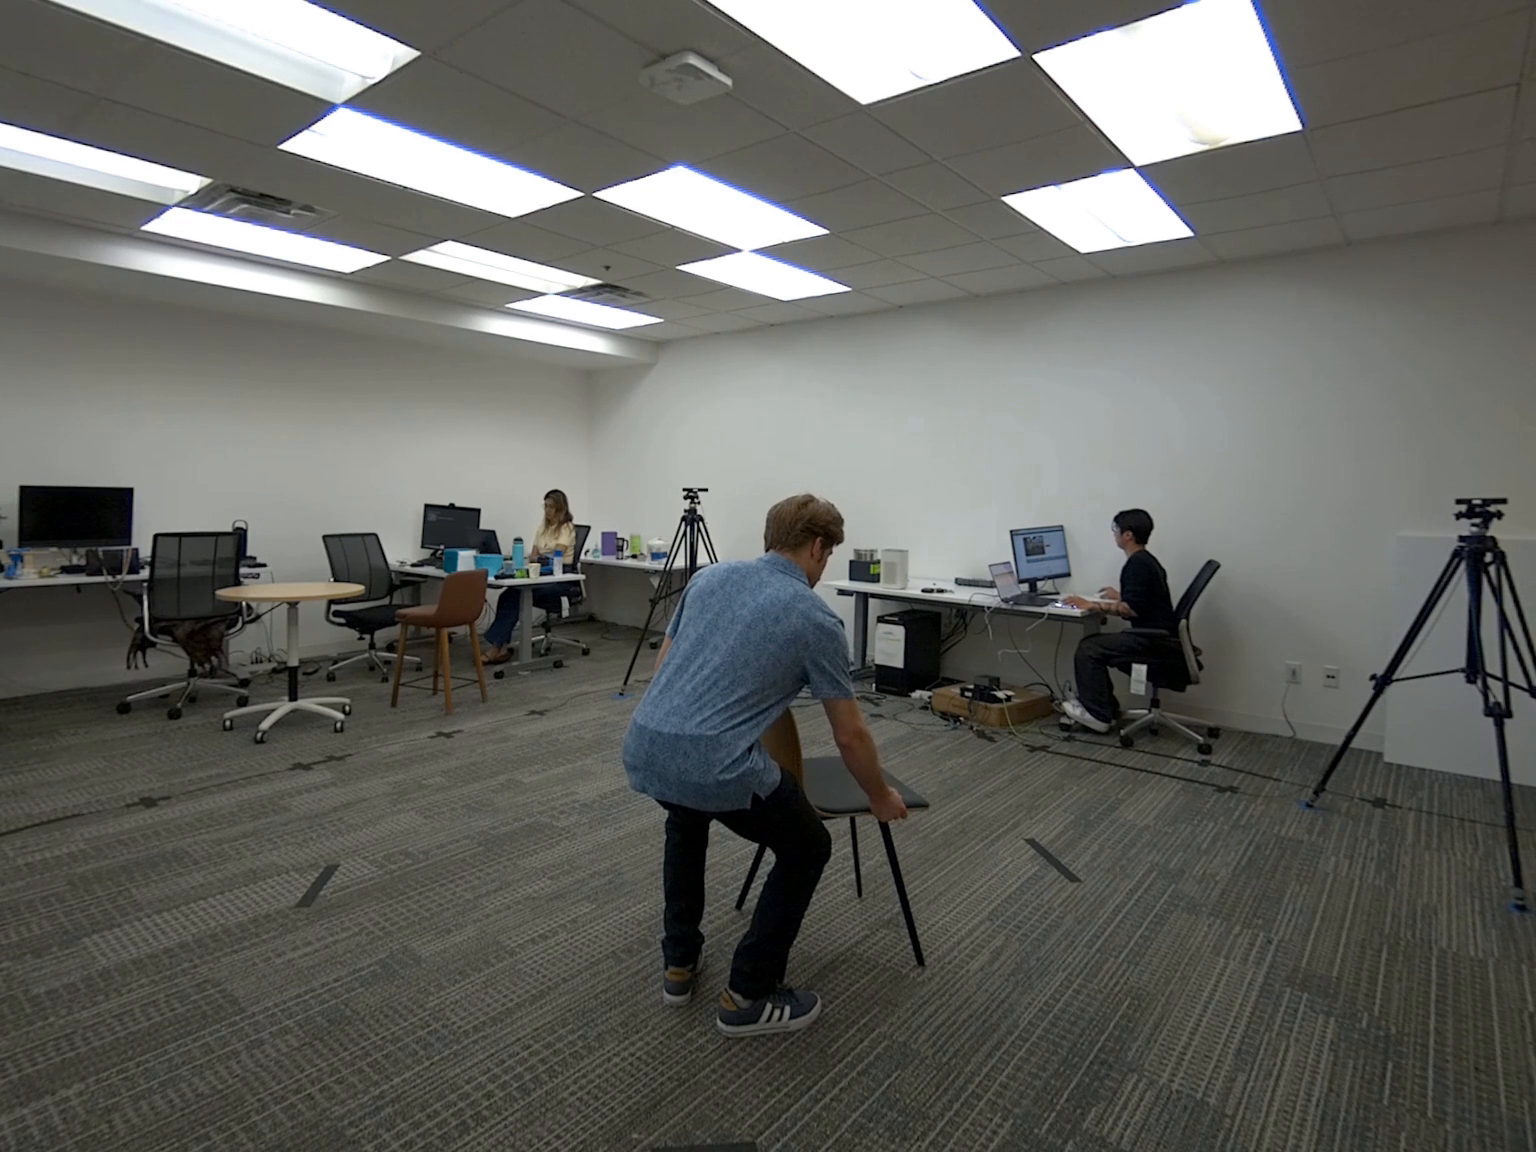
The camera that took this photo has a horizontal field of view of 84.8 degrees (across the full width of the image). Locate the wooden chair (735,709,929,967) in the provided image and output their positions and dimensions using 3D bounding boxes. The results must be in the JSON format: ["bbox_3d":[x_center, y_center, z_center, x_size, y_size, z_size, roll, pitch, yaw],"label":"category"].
[{"bbox_3d":[0.189,0.692,2.645,0.515,0.874,0.488,-4,4,-17],"label":"wooden chair"}]
